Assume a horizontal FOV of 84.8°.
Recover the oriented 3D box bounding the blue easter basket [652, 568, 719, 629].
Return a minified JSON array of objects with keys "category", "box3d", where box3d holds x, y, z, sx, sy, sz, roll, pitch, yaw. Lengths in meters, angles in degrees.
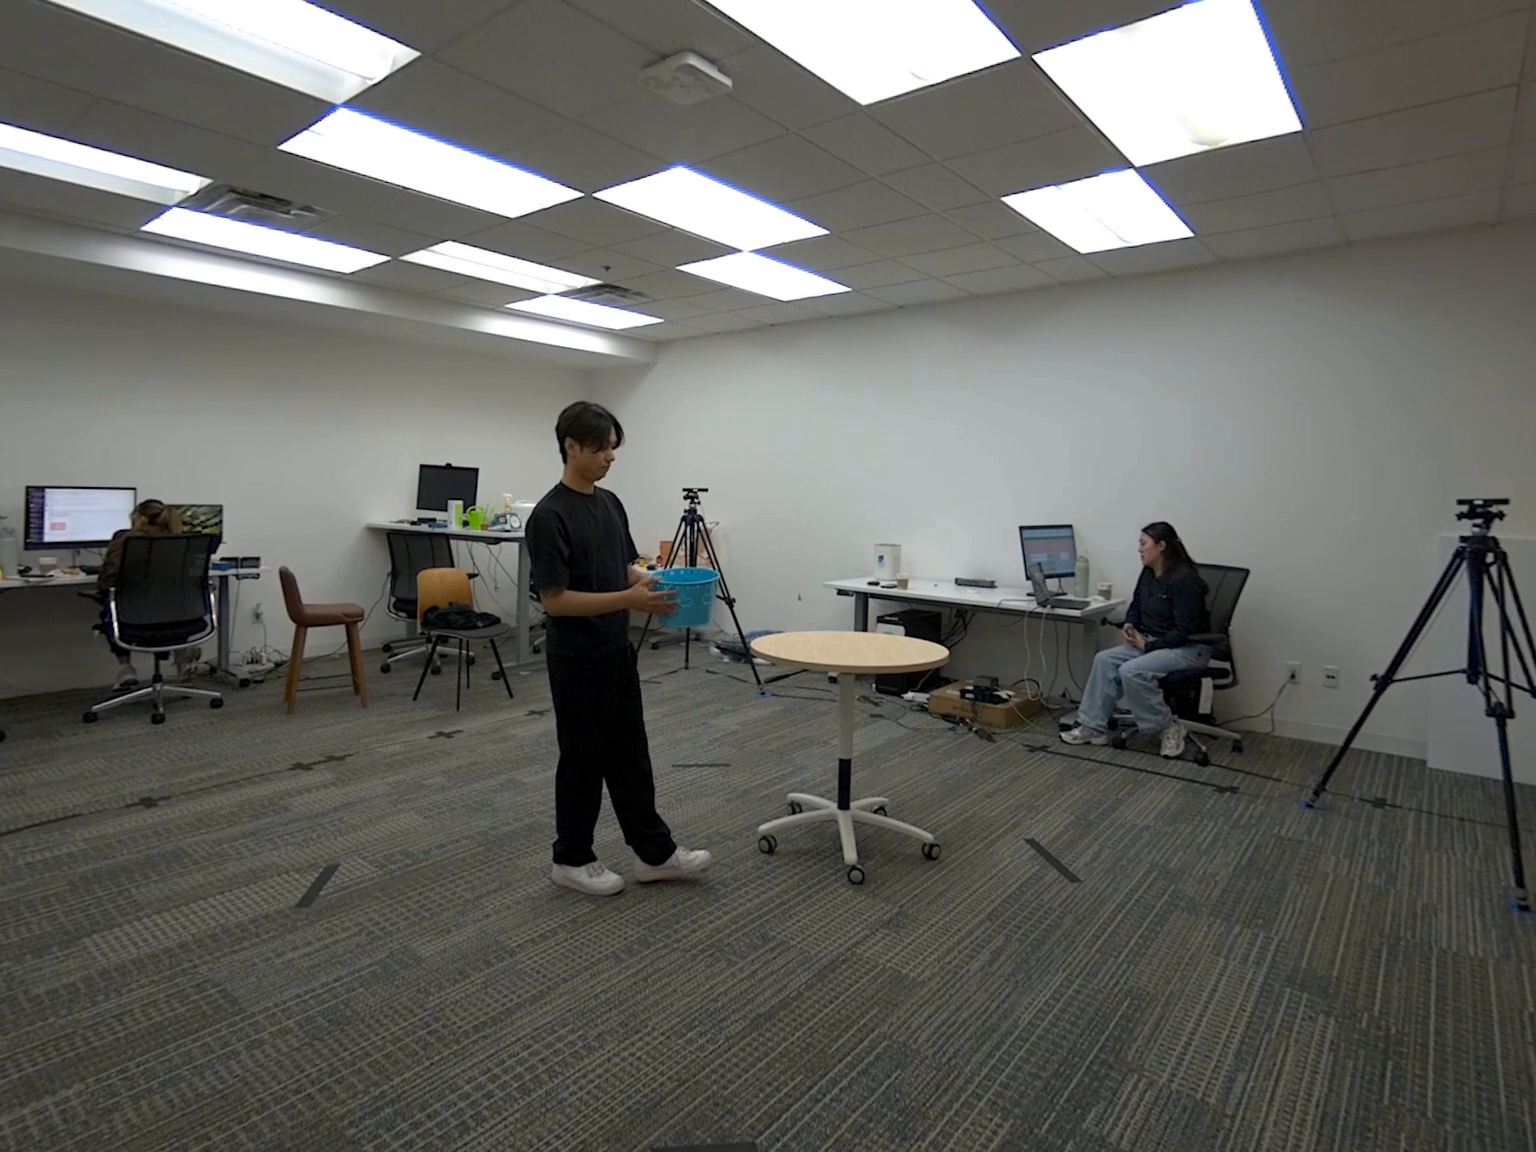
[{"category":"blue easter basket","box3d":[-0.296,0.074,2.789,0.243,0.154,0.246,-2,11,-2]}]
